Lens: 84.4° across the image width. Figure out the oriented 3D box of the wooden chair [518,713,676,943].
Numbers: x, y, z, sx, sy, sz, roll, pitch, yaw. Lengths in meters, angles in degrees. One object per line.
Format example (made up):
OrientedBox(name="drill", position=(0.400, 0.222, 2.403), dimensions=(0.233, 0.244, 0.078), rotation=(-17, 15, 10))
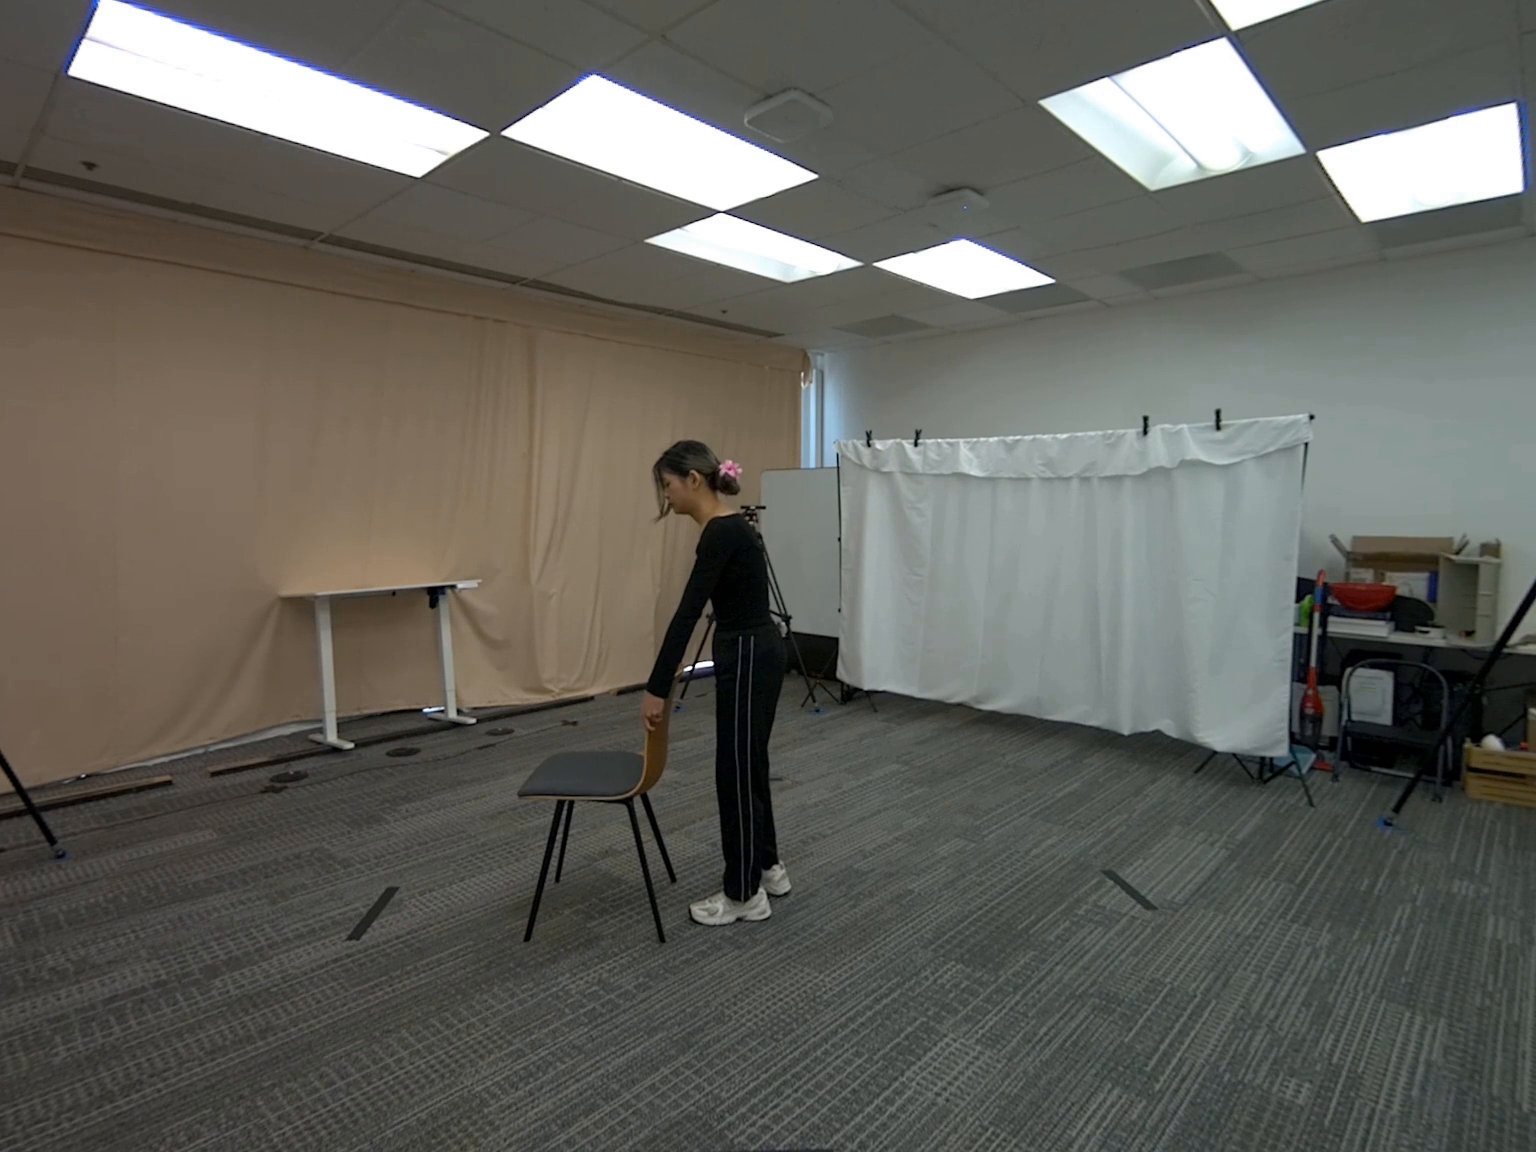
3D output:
OrientedBox(name="wooden chair", position=(-0.572, 0.733, 2.884), dimensions=(0.524, 0.875, 0.479), rotation=(4, 4, 0))
